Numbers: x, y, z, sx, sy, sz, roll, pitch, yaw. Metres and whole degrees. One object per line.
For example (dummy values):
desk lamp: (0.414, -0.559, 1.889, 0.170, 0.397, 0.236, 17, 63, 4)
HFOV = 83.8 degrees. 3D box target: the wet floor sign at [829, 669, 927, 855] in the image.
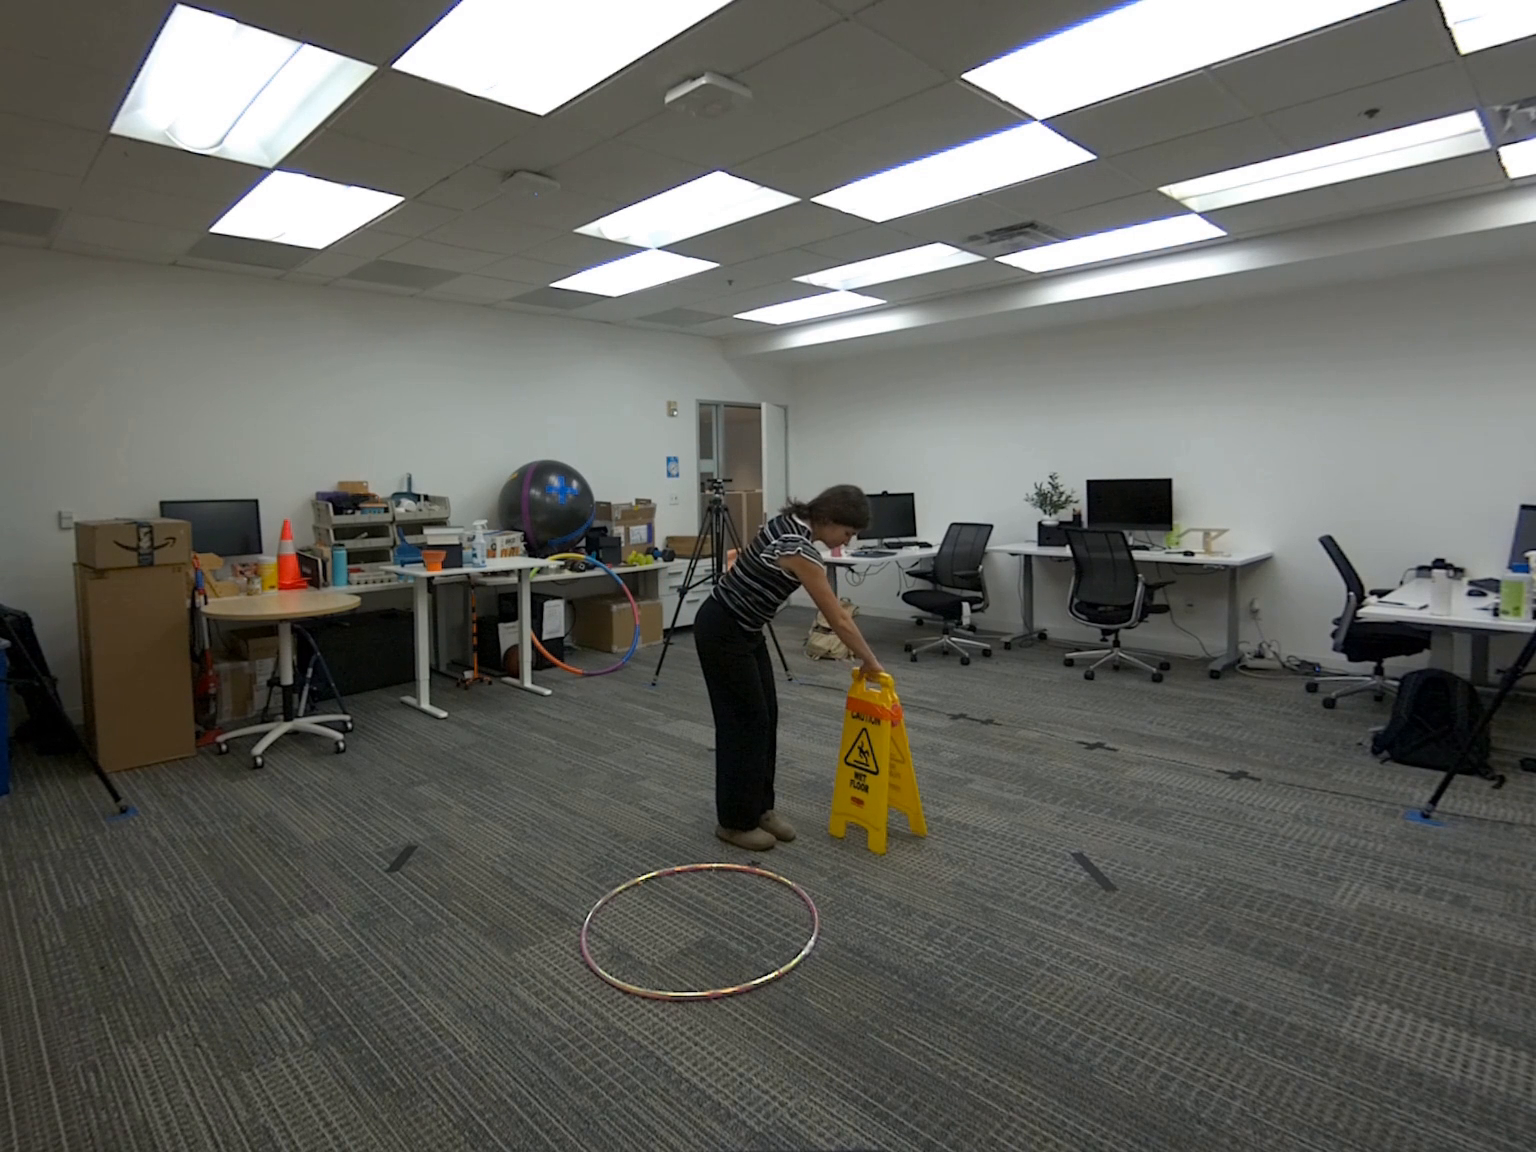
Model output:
wet floor sign: (0.406, 0.678, 3.293, 0.283, 0.643, 0.290, -7, 6, -37)
